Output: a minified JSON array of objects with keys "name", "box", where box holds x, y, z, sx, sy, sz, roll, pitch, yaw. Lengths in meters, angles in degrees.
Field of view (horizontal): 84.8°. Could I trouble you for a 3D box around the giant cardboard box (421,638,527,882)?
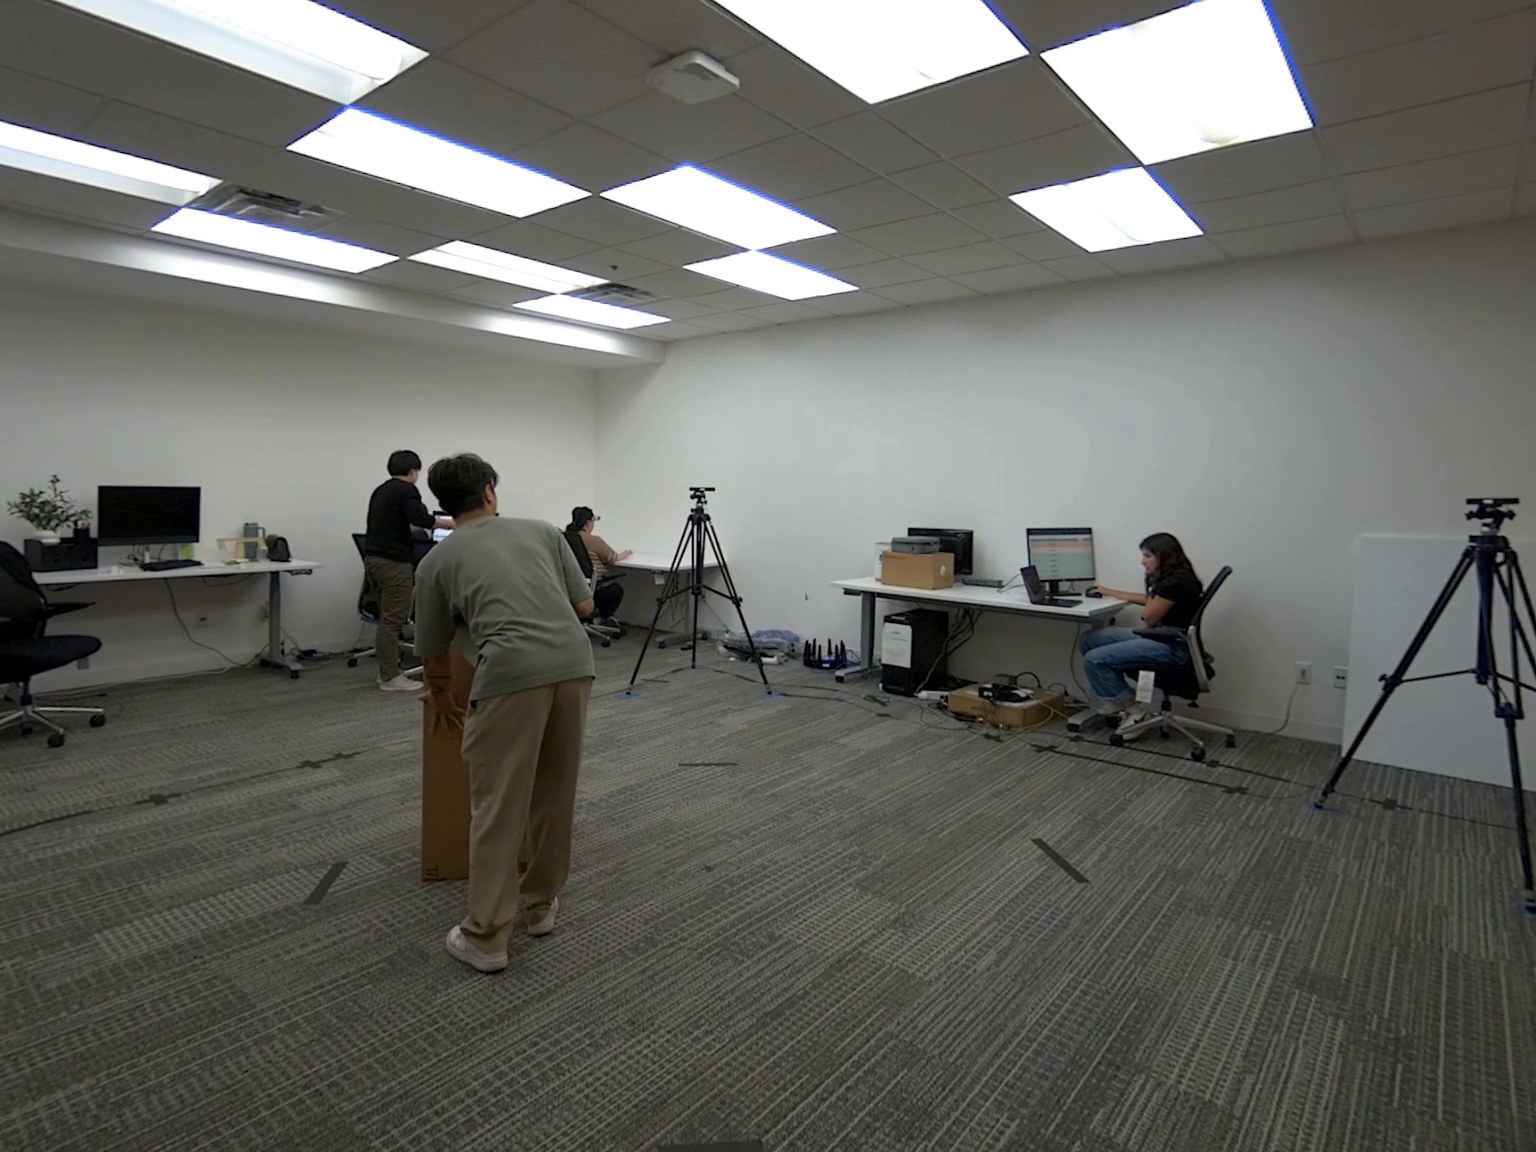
[{"name":"giant cardboard box","box":[-1.060,0.528,3.262,0.422,1.024,0.585,1,2,-10]}]
